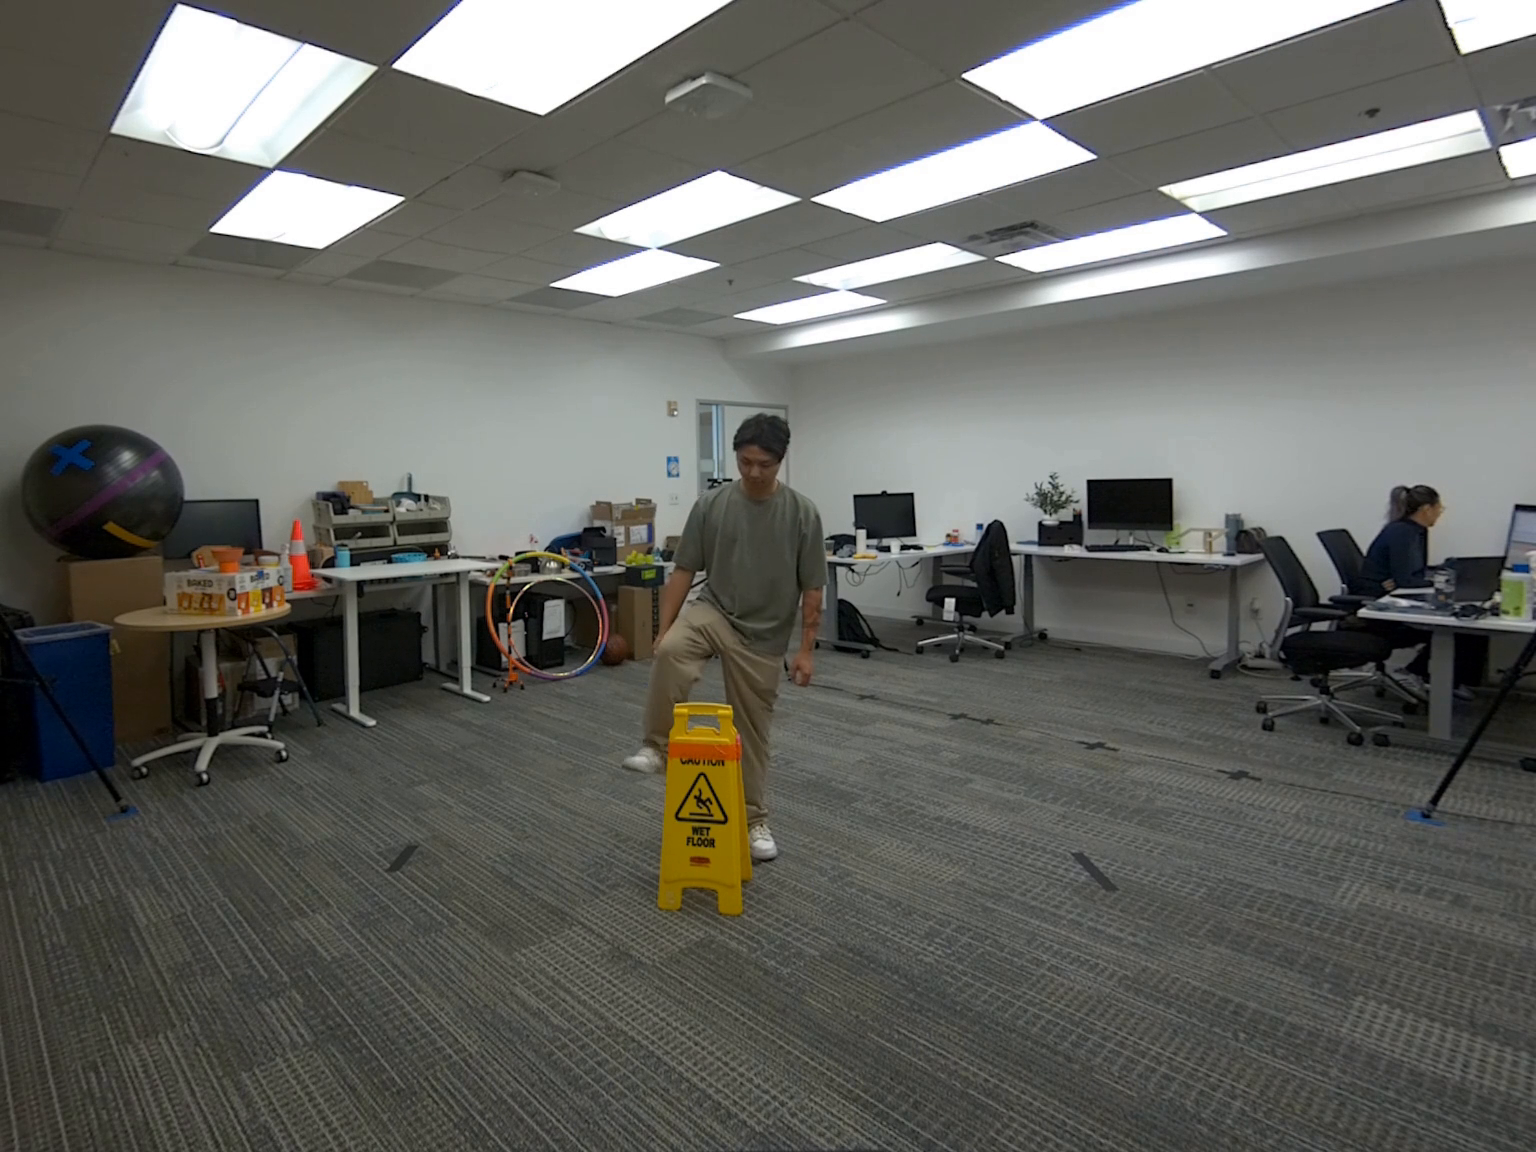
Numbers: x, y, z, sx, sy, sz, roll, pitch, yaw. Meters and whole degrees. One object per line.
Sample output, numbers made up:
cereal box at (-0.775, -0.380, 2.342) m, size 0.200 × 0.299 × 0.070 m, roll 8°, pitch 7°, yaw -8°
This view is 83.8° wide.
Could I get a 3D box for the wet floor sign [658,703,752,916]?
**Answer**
wet floor sign at (-0.203, 0.753, 2.857) m, size 0.285 × 0.643 × 0.289 m, roll 0°, pitch 5°, yaw 8°
